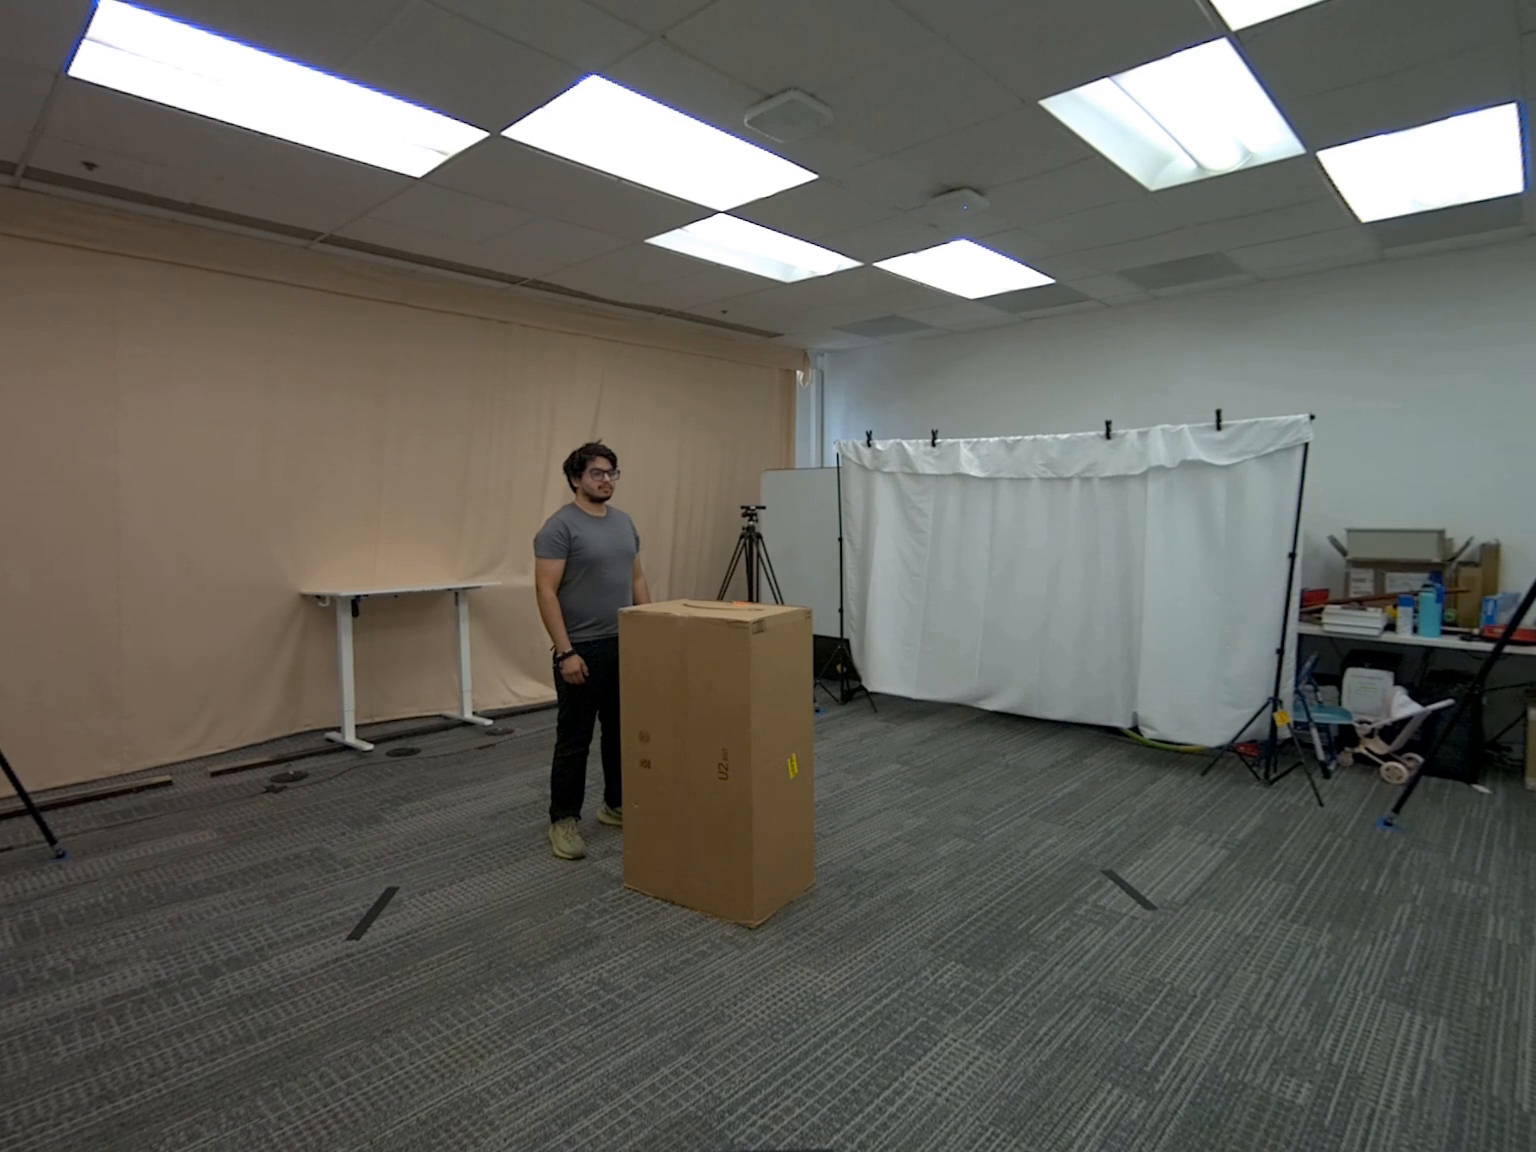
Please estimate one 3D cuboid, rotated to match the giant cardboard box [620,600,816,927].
[{"bbox_3d":[-0.180,0.632,3.075,0.601,1.025,0.434,2,4,33],"label":"giant cardboard box"}]
